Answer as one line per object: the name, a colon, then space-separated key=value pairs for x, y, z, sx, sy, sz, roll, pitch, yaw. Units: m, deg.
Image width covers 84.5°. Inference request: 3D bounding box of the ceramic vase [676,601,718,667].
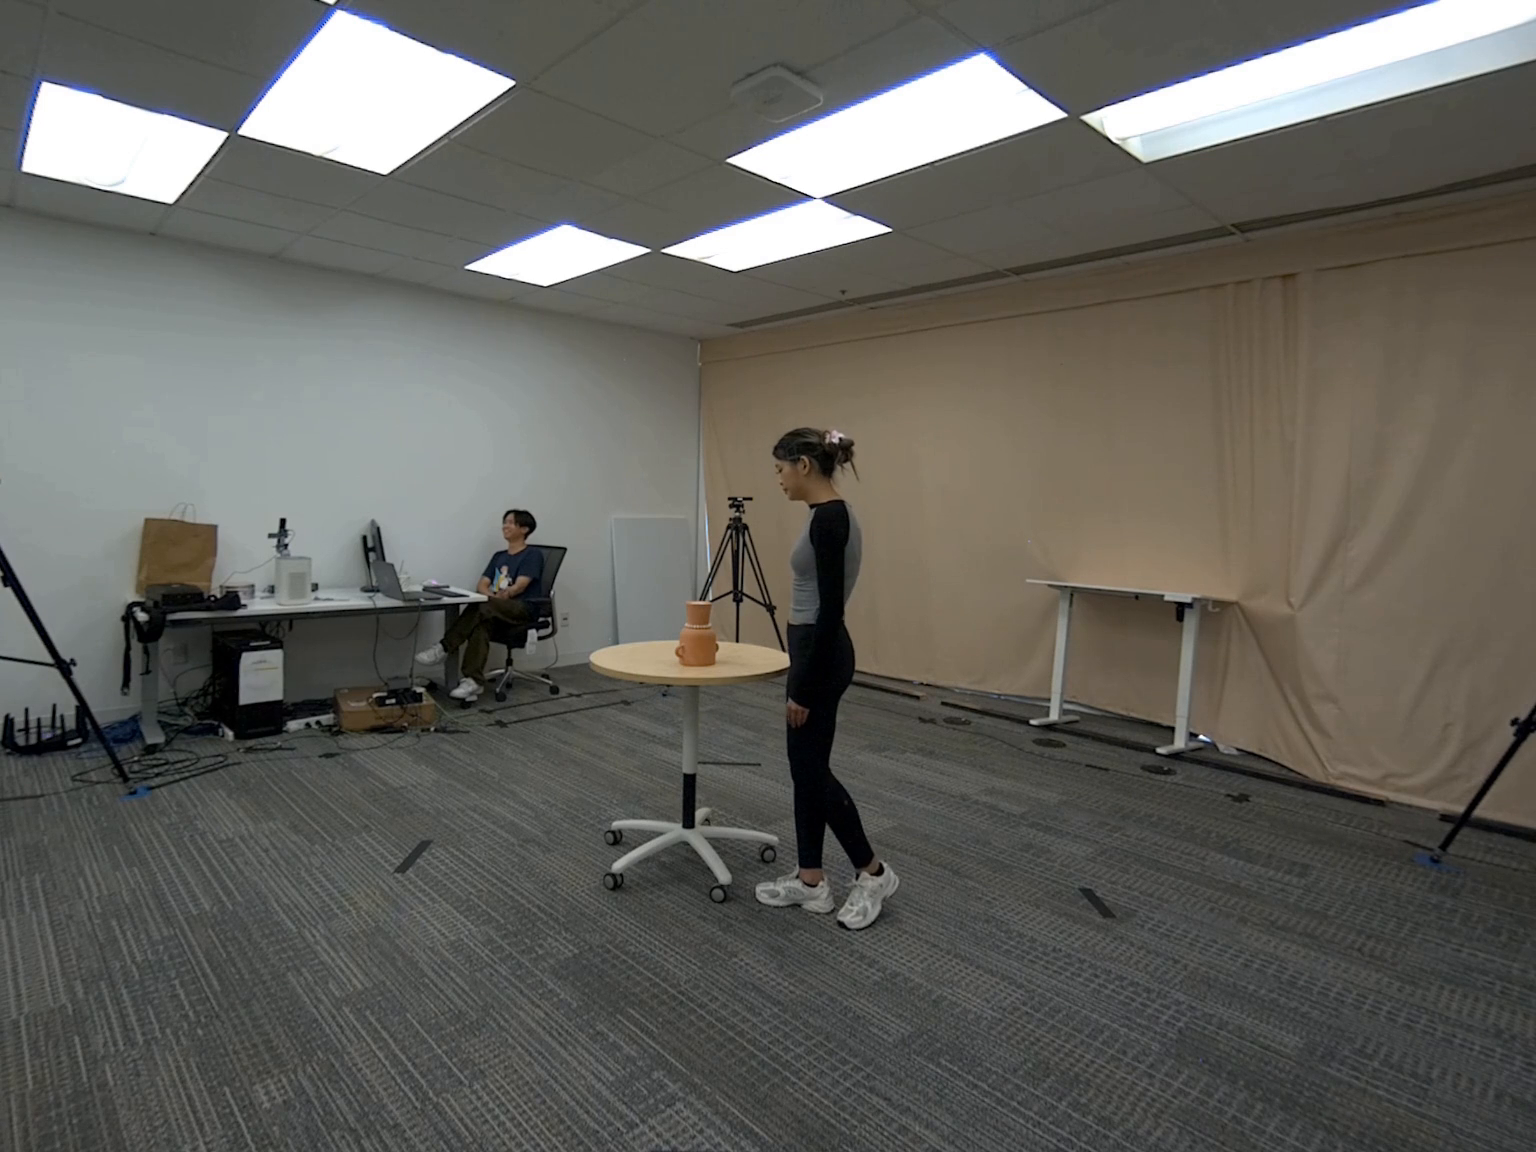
ceramic vase: x=-0.252 y=0.206 z=3.041 sx=0.135 sy=0.219 sz=0.158 roll=3 pitch=3 yaw=6
